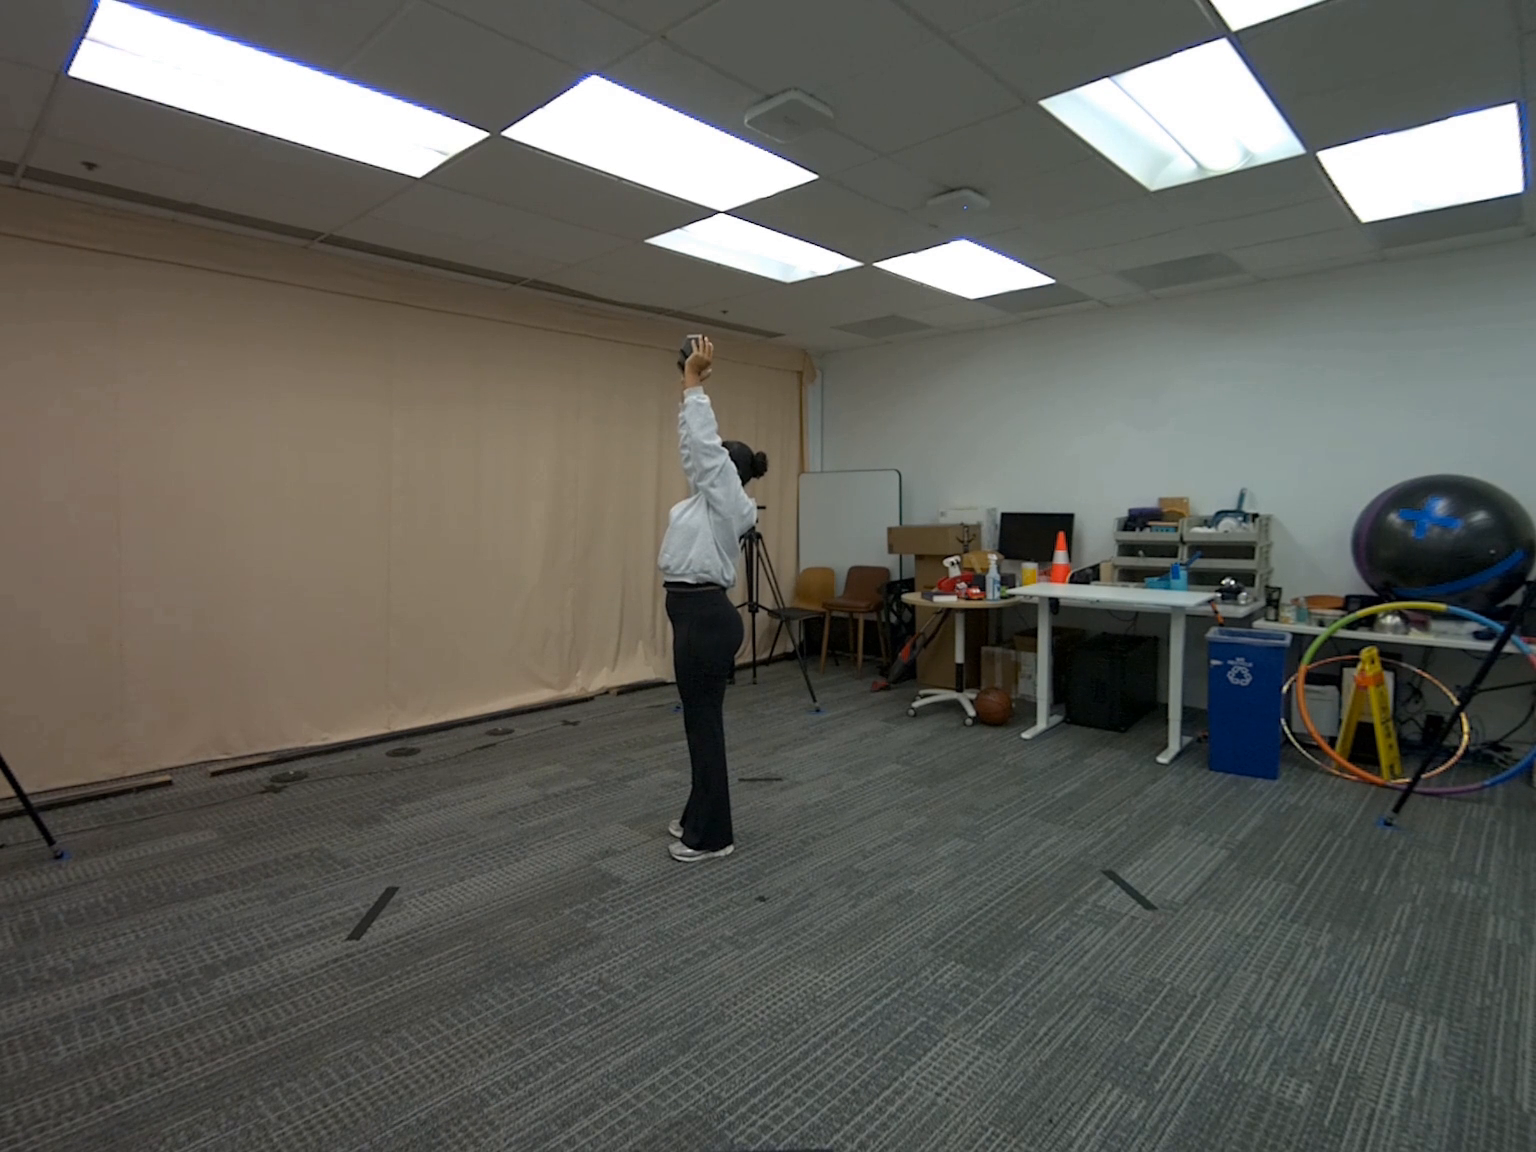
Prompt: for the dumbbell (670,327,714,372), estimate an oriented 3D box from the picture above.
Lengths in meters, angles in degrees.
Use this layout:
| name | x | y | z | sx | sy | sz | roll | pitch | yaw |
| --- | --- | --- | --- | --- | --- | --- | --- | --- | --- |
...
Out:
| name | x | y | z | sx | sy | sz | roll | pitch | yaw |
| --- | --- | --- | --- | --- | --- | --- | --- | --- | --- |
| dumbbell | -0.303 | -0.879 | 3.401 | 0.108 | 0.123 | 0.294 | -41 | 3 | -2 |
